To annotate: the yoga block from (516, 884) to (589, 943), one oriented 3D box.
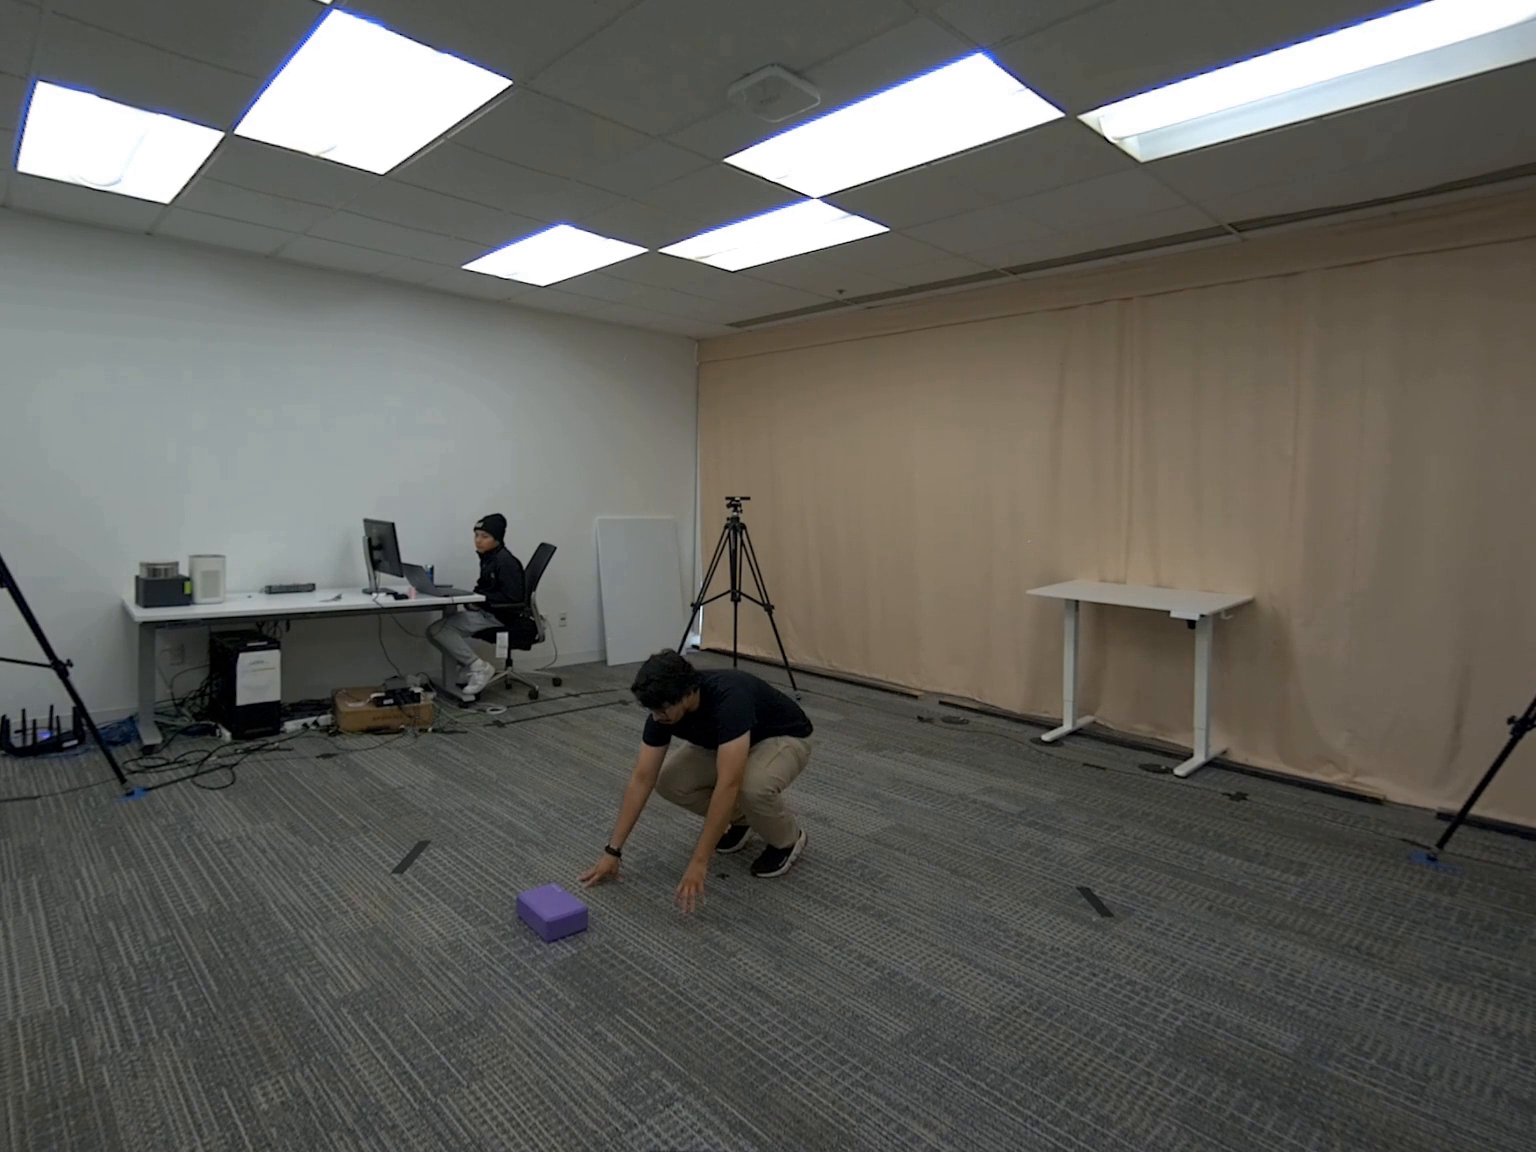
[{"bbox_3d":[-0.709,1.089,2.734,0.146,0.076,0.235,-4,7,-40],"label":"yoga block"}]
